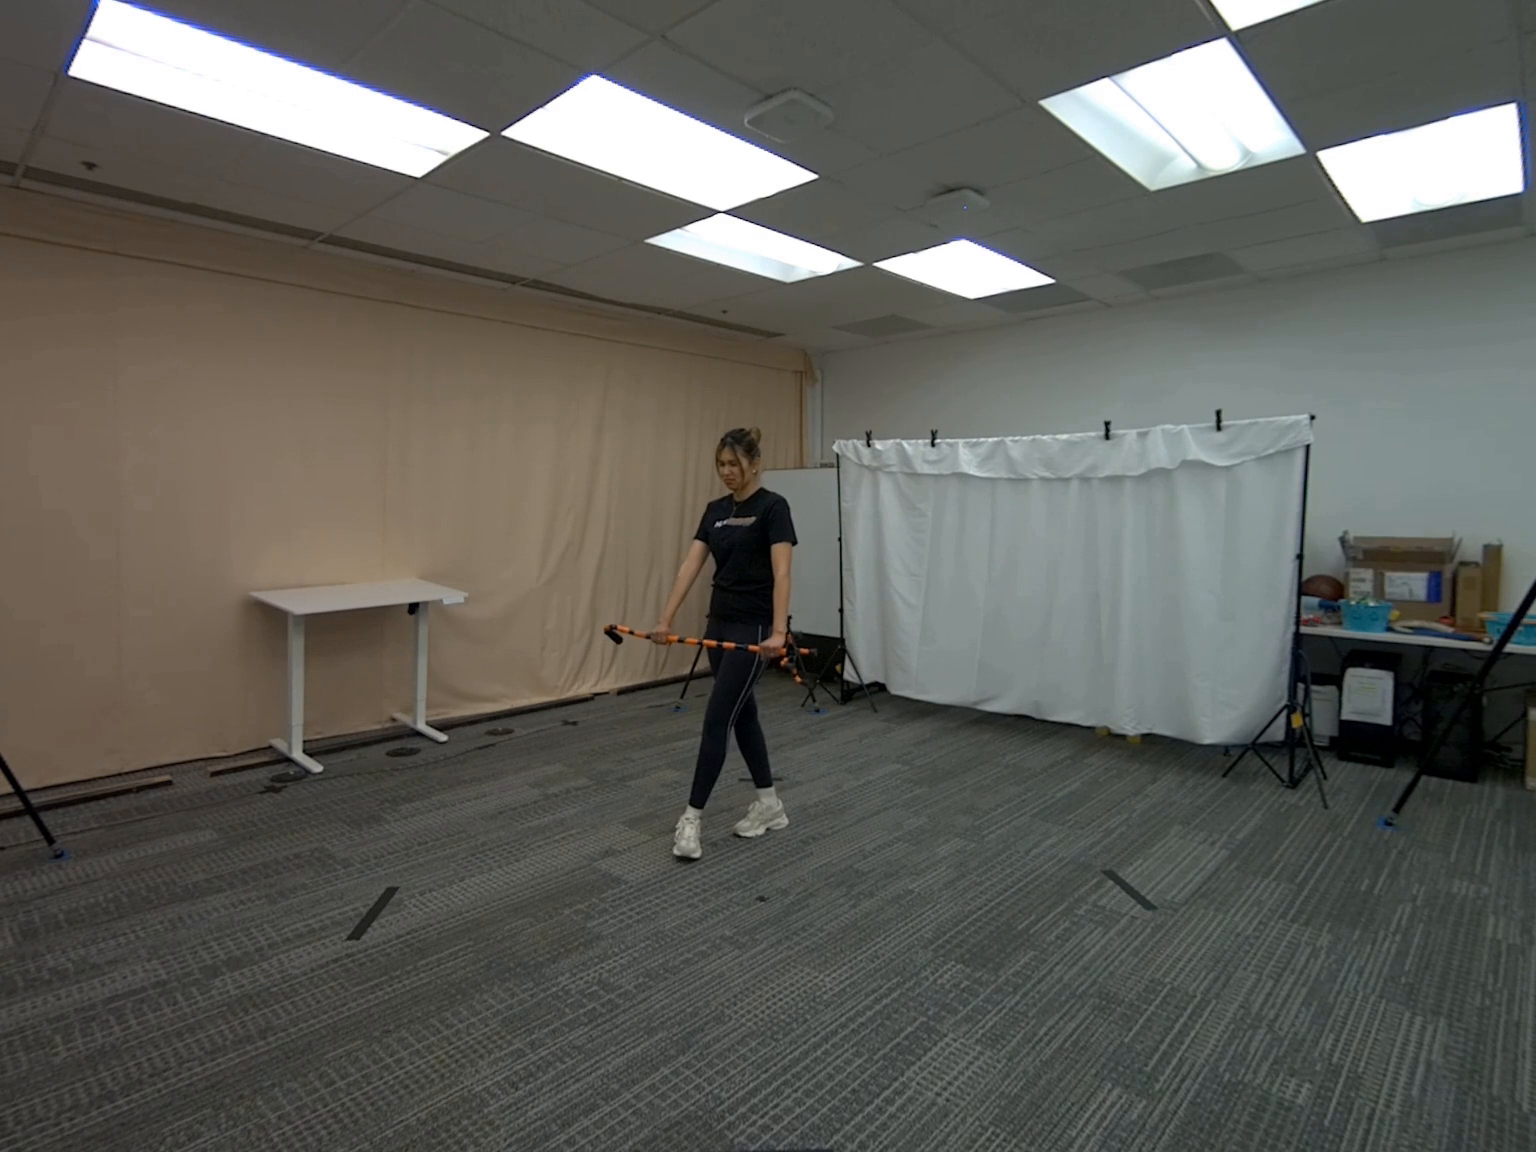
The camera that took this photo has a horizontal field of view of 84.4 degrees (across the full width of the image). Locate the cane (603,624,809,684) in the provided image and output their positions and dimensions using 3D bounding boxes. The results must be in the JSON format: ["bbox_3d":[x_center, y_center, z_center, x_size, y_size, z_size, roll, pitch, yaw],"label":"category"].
[{"bbox_3d":[-0.280,0.275,3.321,0.935,0.152,0.199,5,-26,30],"label":"cane"}]
